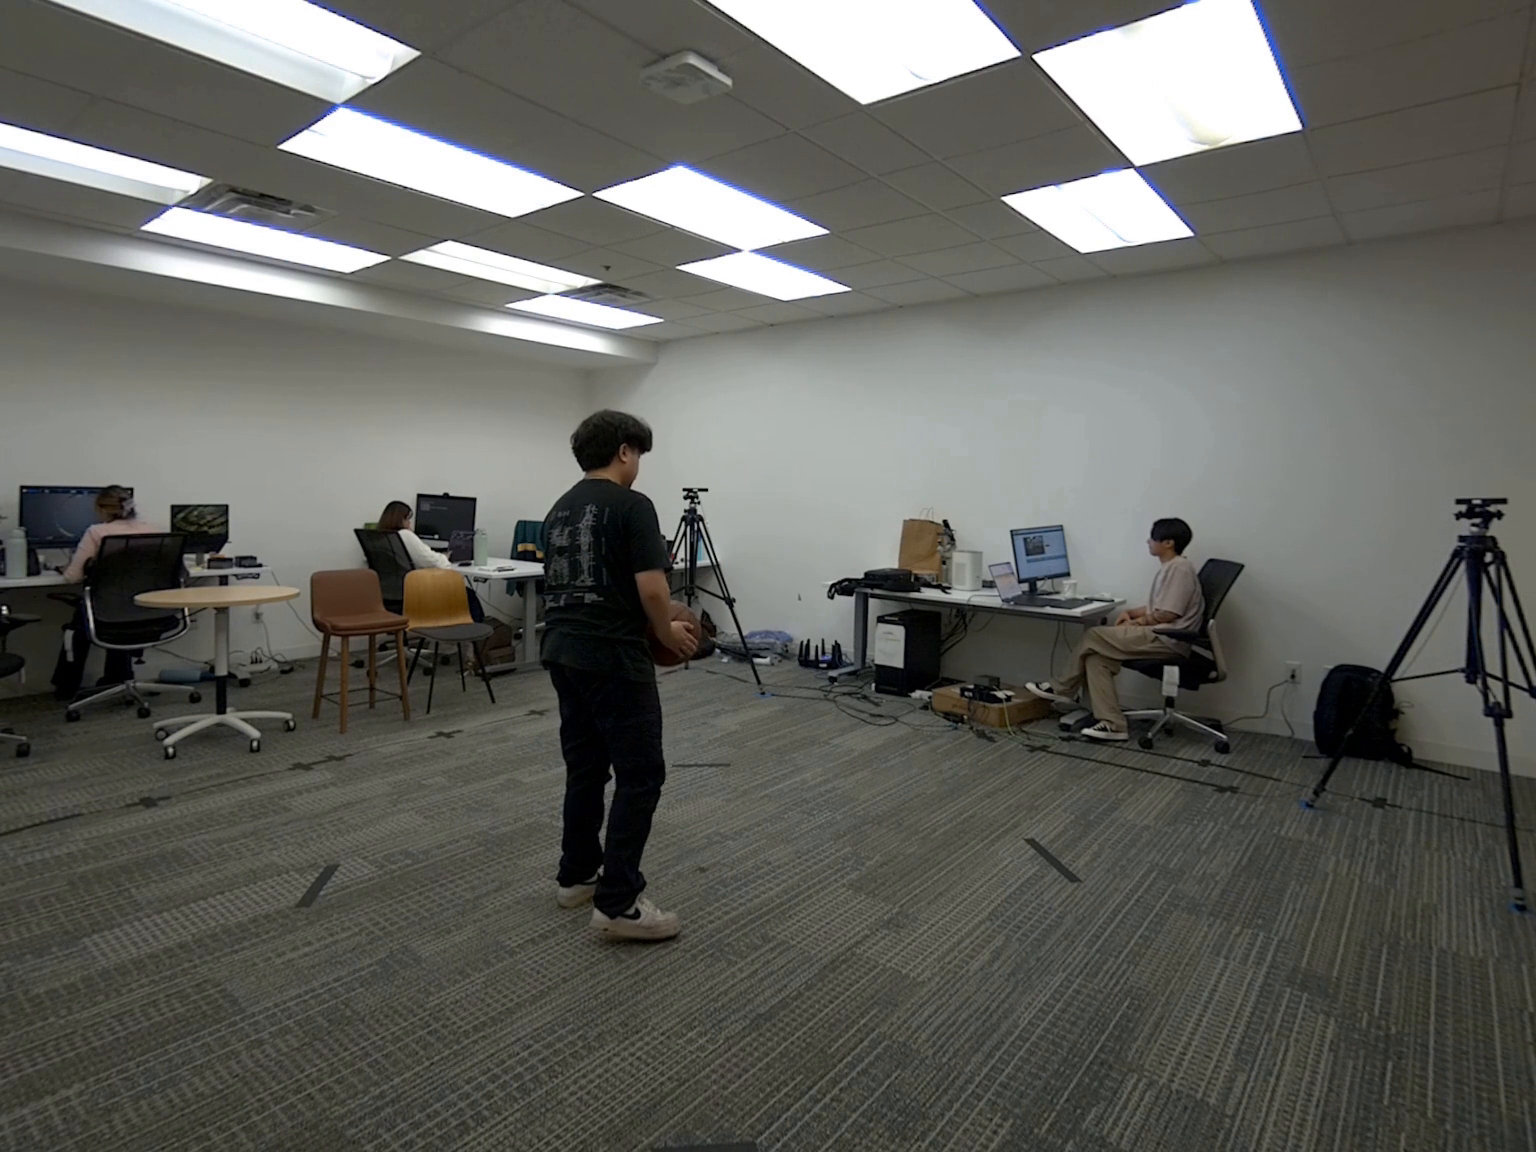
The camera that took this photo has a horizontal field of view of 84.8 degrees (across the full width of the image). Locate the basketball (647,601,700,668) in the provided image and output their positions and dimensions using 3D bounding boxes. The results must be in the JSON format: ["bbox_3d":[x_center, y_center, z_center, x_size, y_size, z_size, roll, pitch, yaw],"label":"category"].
[{"bbox_3d":[-0.361,0.206,3.022,0.235,0.235,0.237,1,4,-2],"label":"basketball"}]
